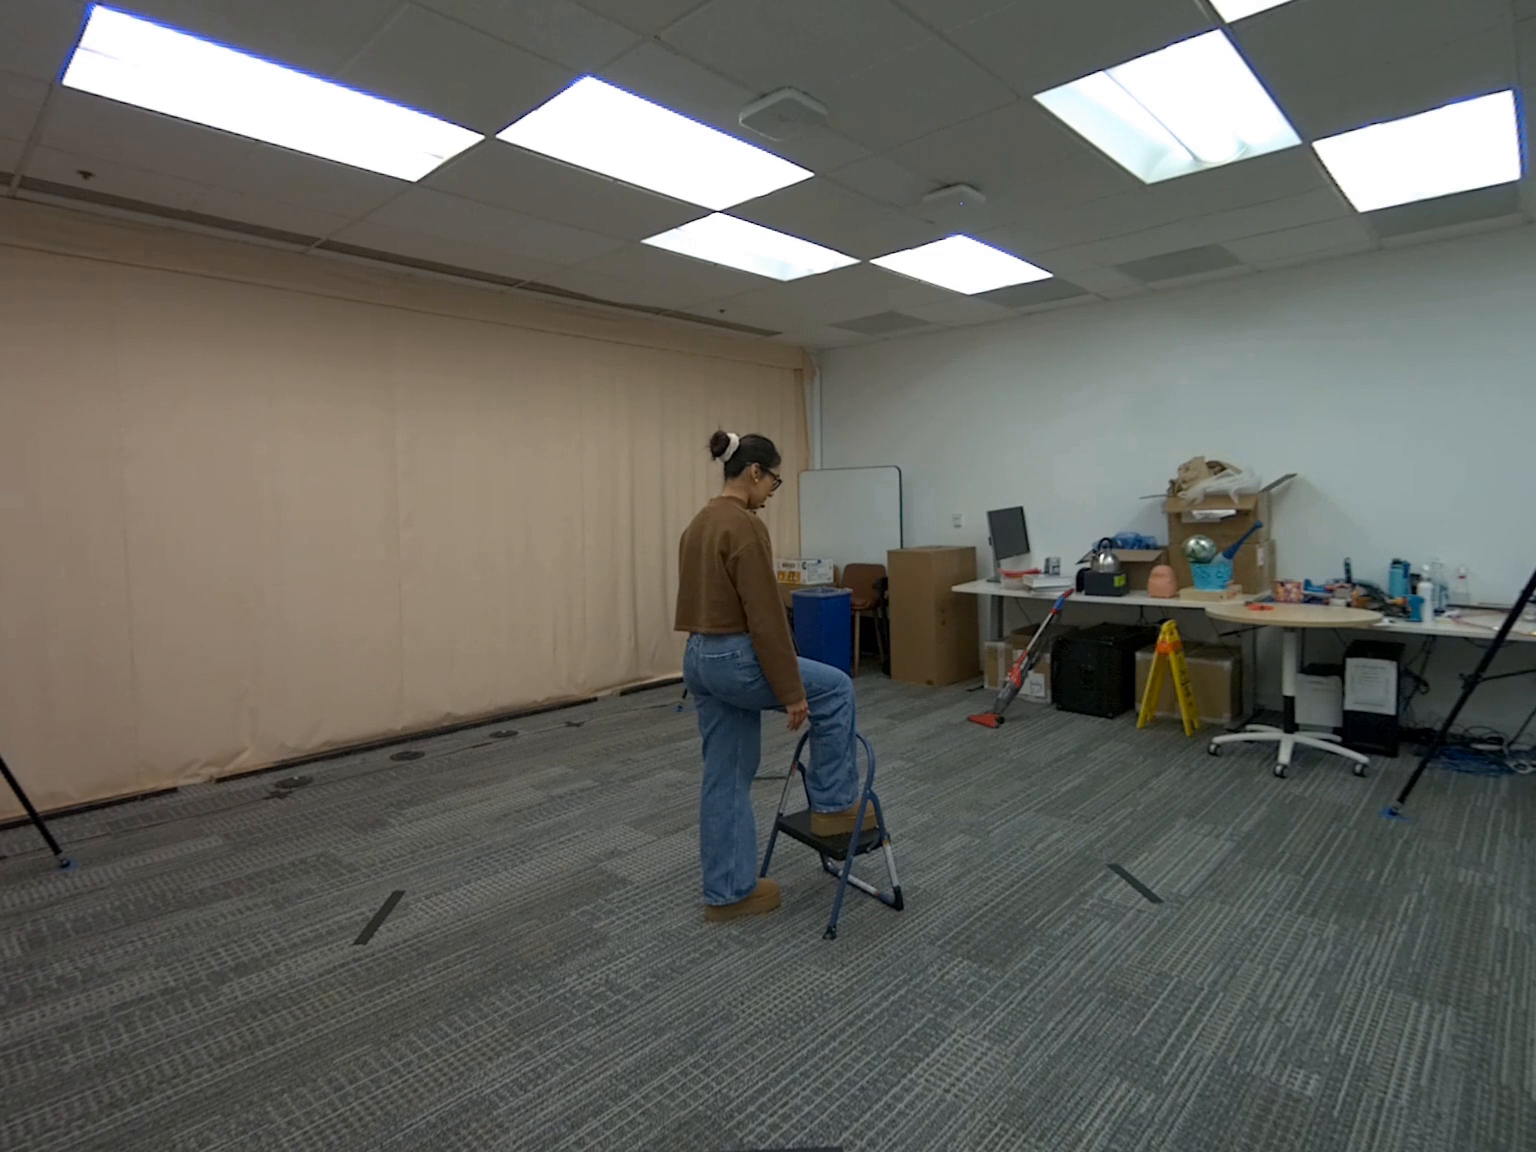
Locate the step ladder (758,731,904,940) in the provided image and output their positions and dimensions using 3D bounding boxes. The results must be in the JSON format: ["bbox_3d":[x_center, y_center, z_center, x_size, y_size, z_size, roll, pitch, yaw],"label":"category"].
[{"bbox_3d":[0.209,0.836,2.938,0.339,0.605,0.444,-3,4,-35],"label":"step ladder"}]
